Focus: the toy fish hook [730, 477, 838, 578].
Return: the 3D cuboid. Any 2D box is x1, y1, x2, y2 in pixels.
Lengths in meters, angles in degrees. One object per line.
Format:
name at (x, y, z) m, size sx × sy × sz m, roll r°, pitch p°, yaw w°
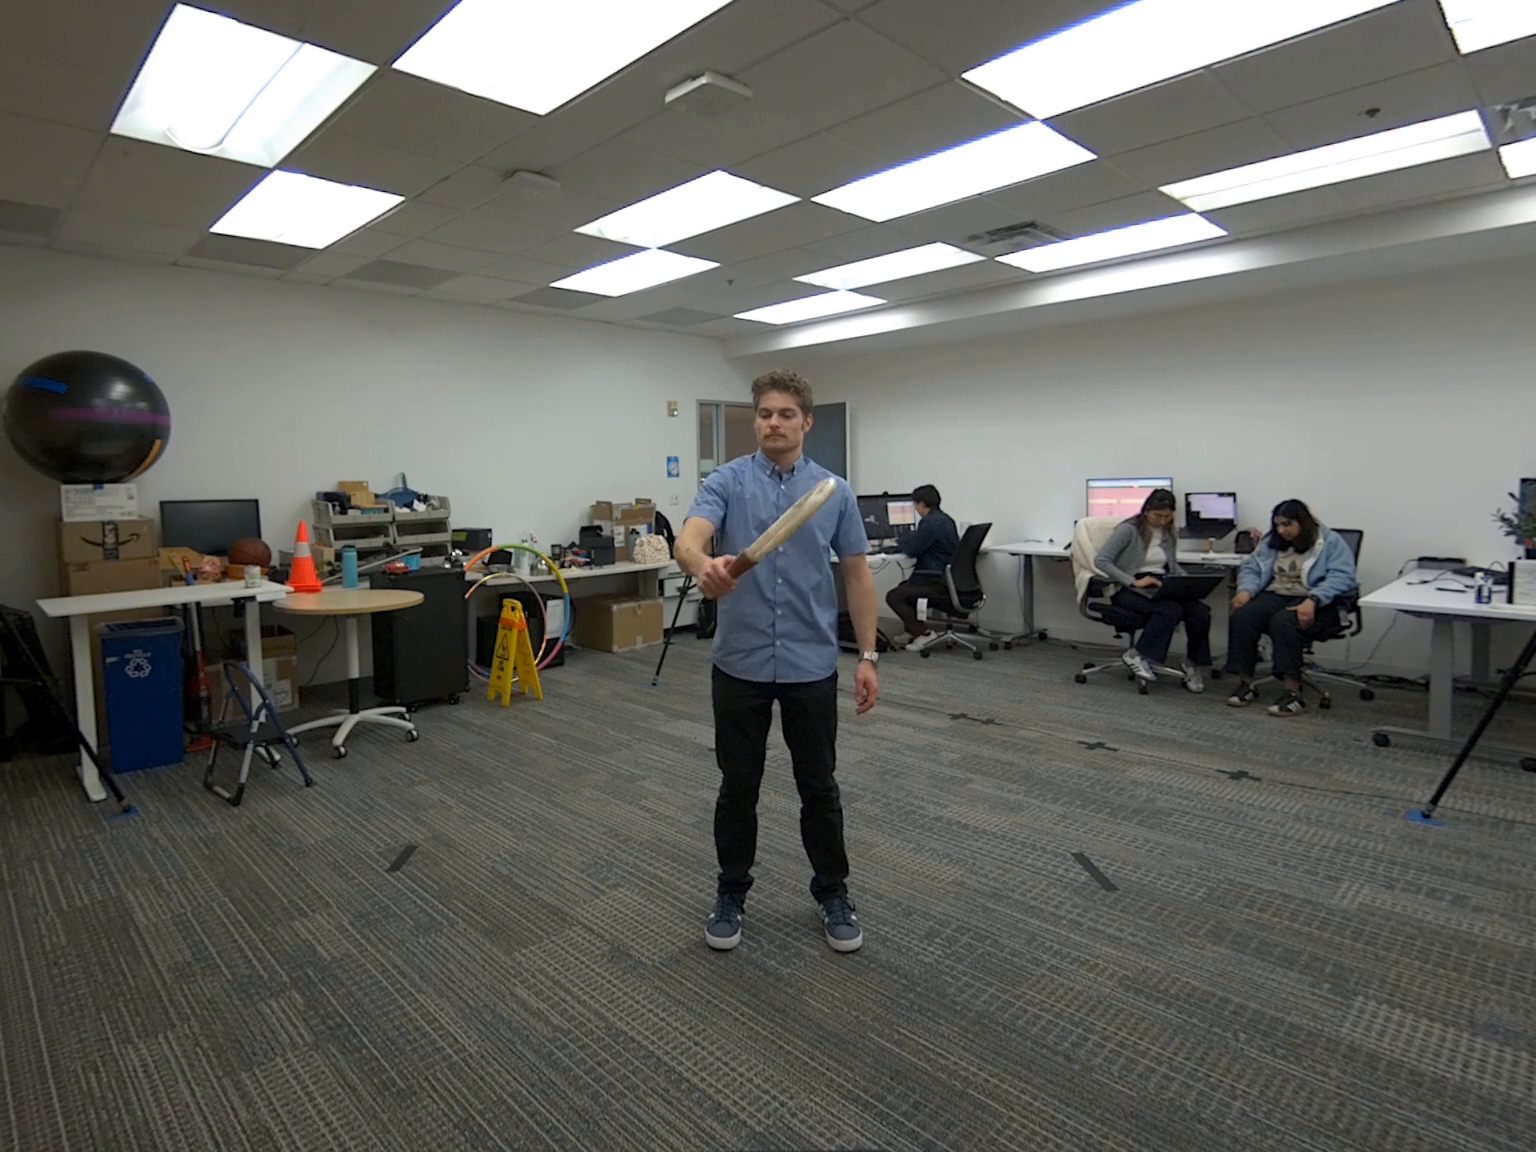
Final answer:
toy fish hook at (-0.021, -0.055, 1.953) m, size 0.507 × 0.048 × 0.224 m, roll -44°, pitch 2°, yaw 38°
